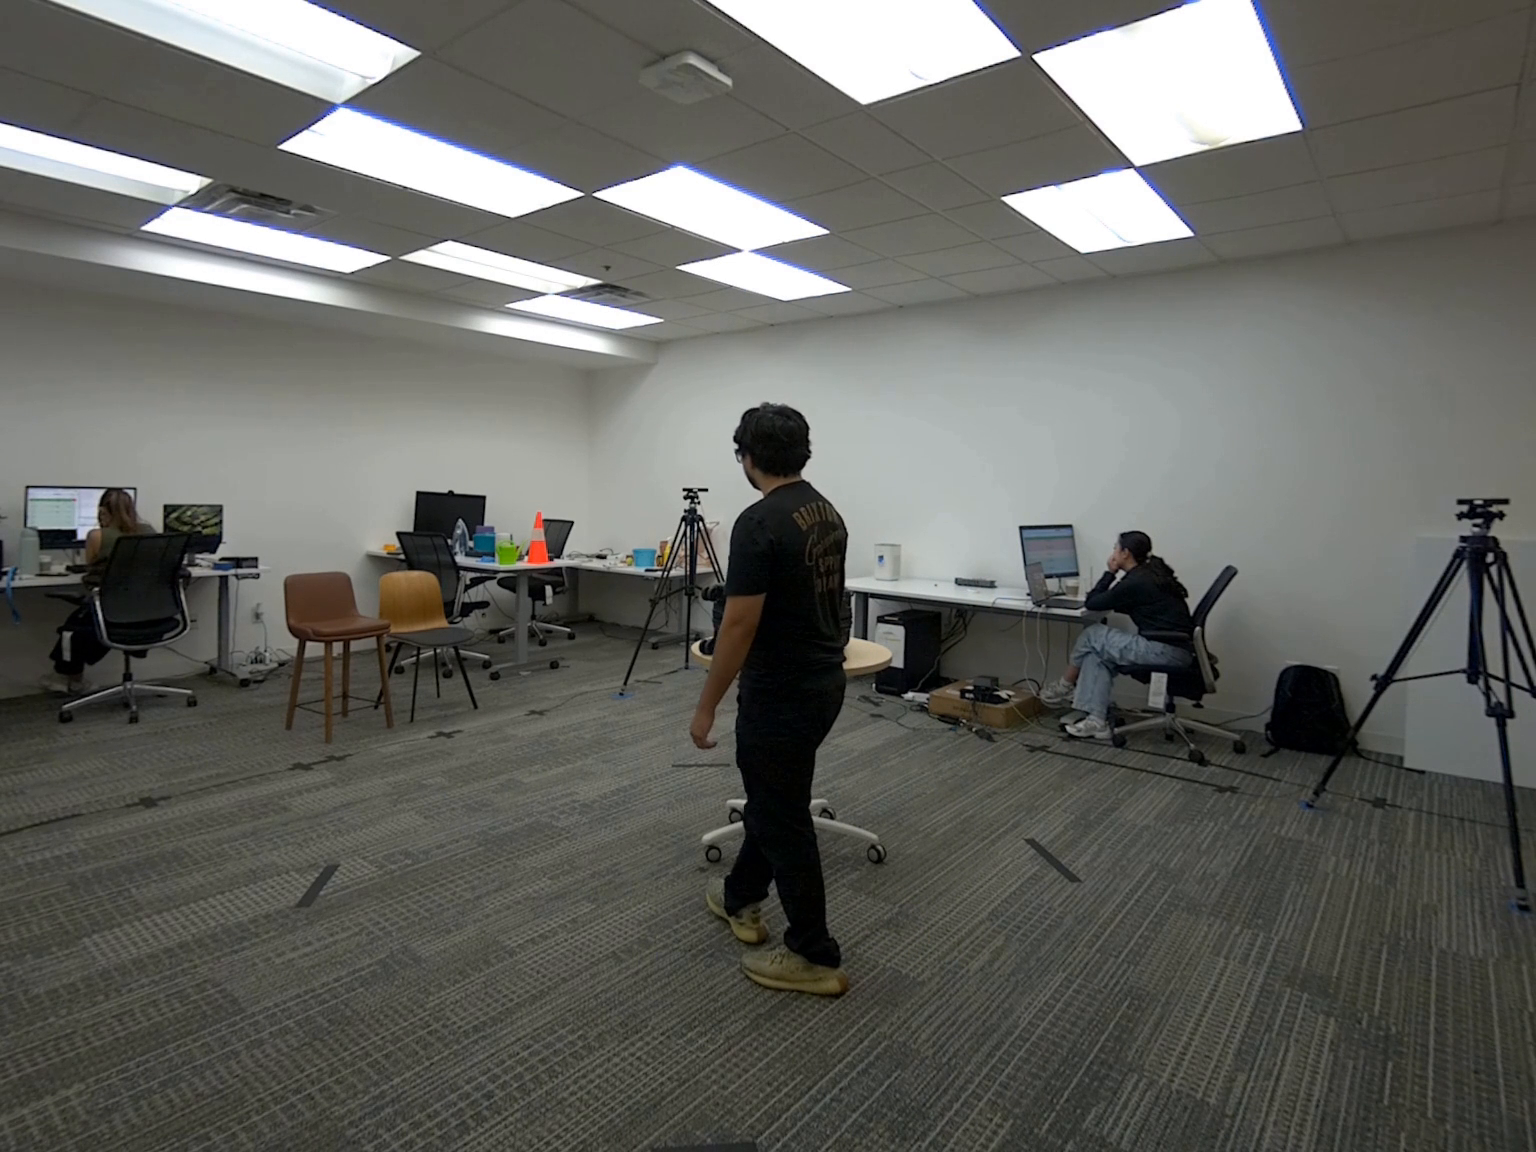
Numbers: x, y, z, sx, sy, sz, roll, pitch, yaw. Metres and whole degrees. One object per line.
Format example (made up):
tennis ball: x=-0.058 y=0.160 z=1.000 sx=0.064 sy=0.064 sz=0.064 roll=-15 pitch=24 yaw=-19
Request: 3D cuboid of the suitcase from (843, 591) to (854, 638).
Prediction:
suitcase: x=0.040 y=0.155 z=3.229 sx=0.388 sy=0.248 sz=0.533 roll=5 pitch=5 yaw=37
